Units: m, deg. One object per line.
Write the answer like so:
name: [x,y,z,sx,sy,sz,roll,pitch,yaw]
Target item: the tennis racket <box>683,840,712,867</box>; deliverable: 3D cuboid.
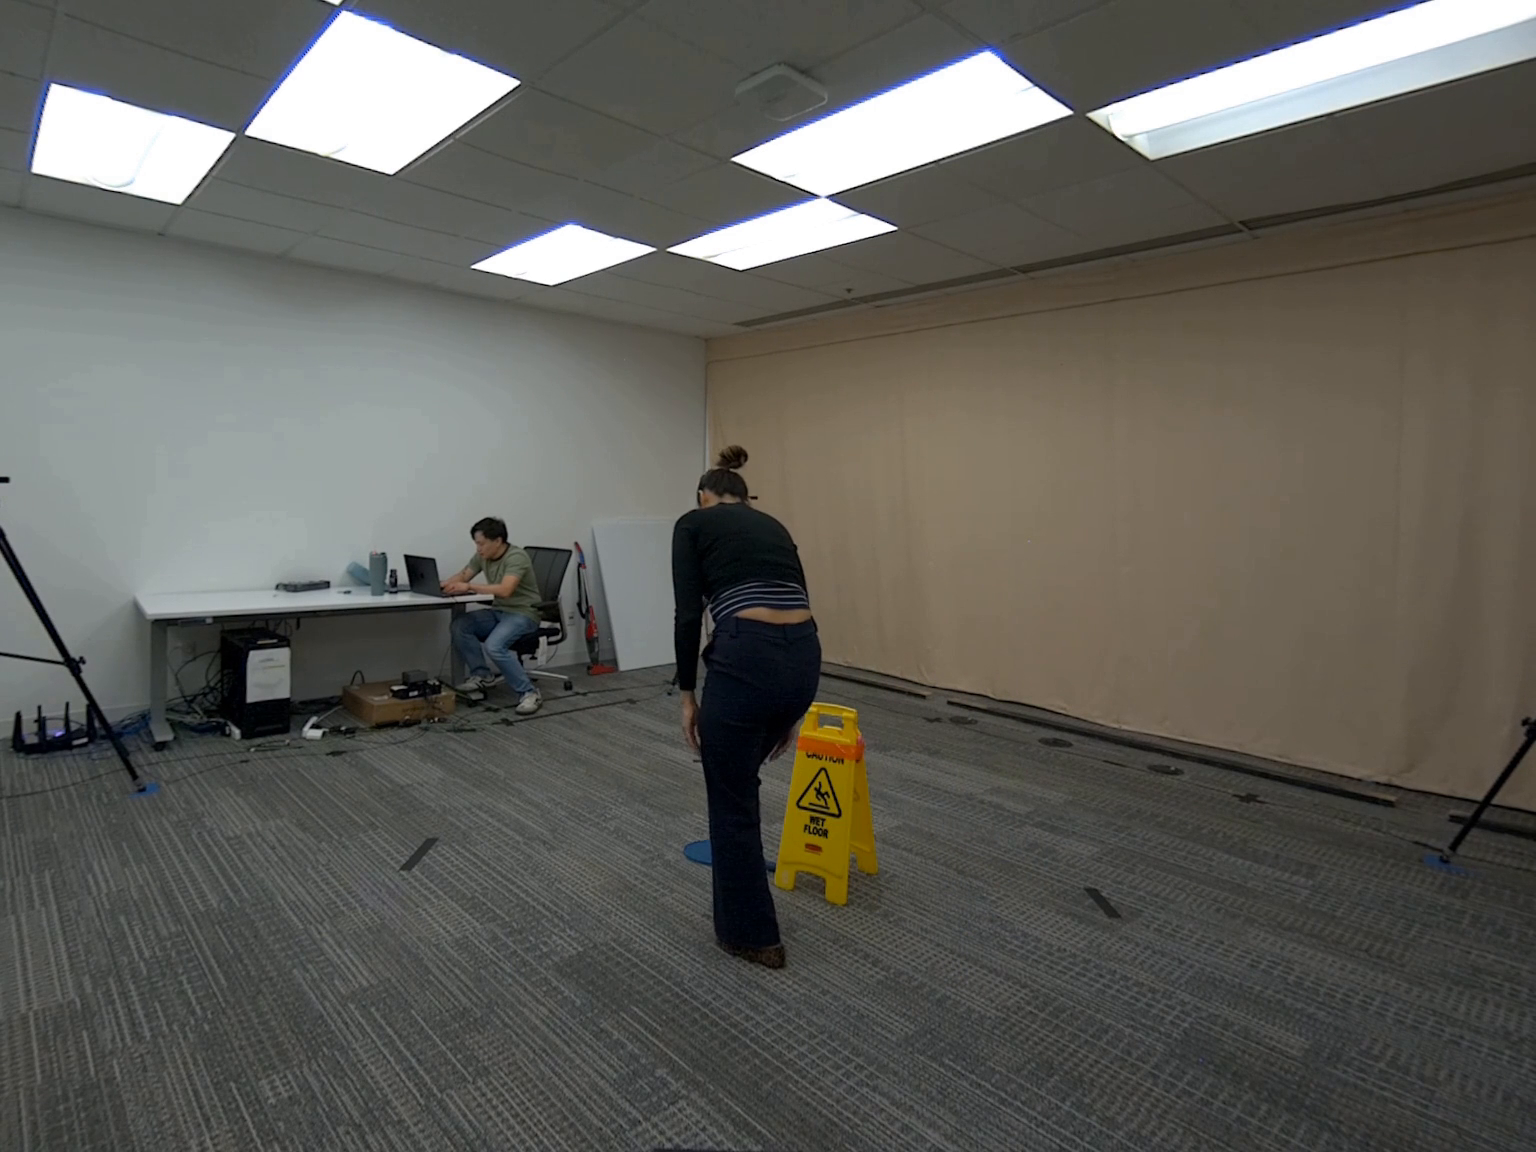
tennis racket: [-0.132,1.073,3.231,0.442,0.032,0.210,2,5,30]
